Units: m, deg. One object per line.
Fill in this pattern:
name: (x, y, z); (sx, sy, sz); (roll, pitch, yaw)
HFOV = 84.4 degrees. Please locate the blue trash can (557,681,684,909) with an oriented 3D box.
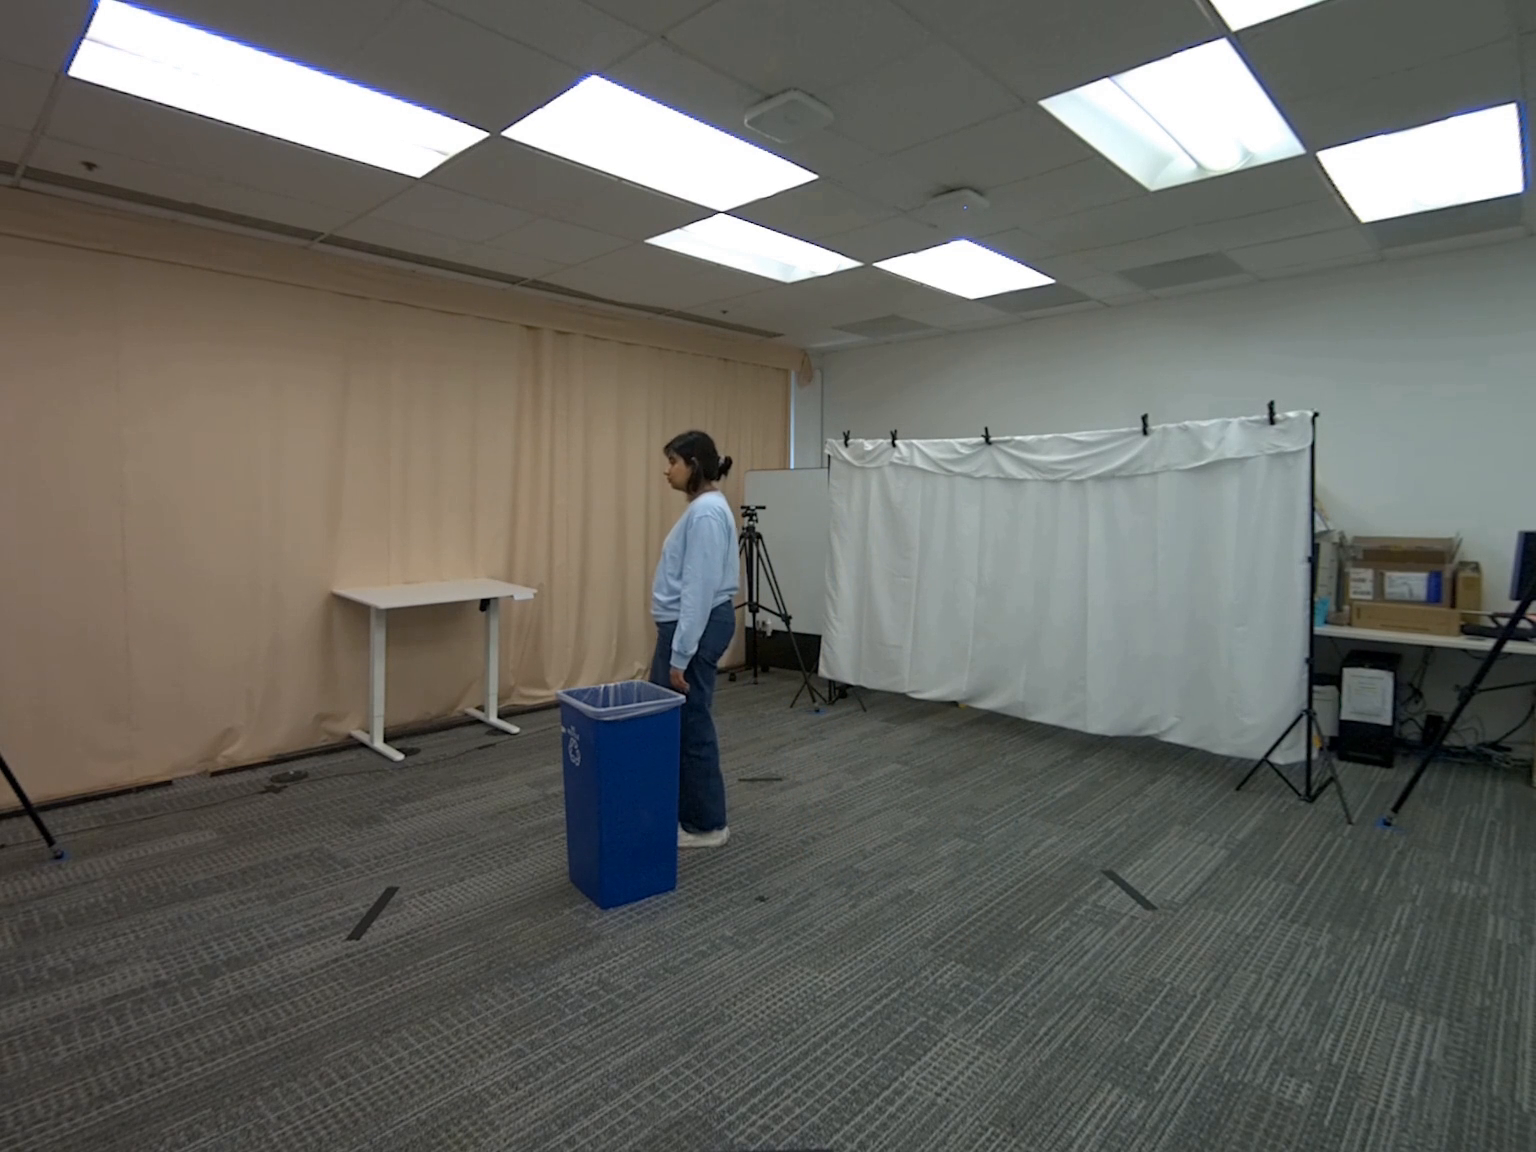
blue trash can: (-0.536, 0.782, 3.084); (0.367, 0.712, 0.386); (-3, 4, -36)
